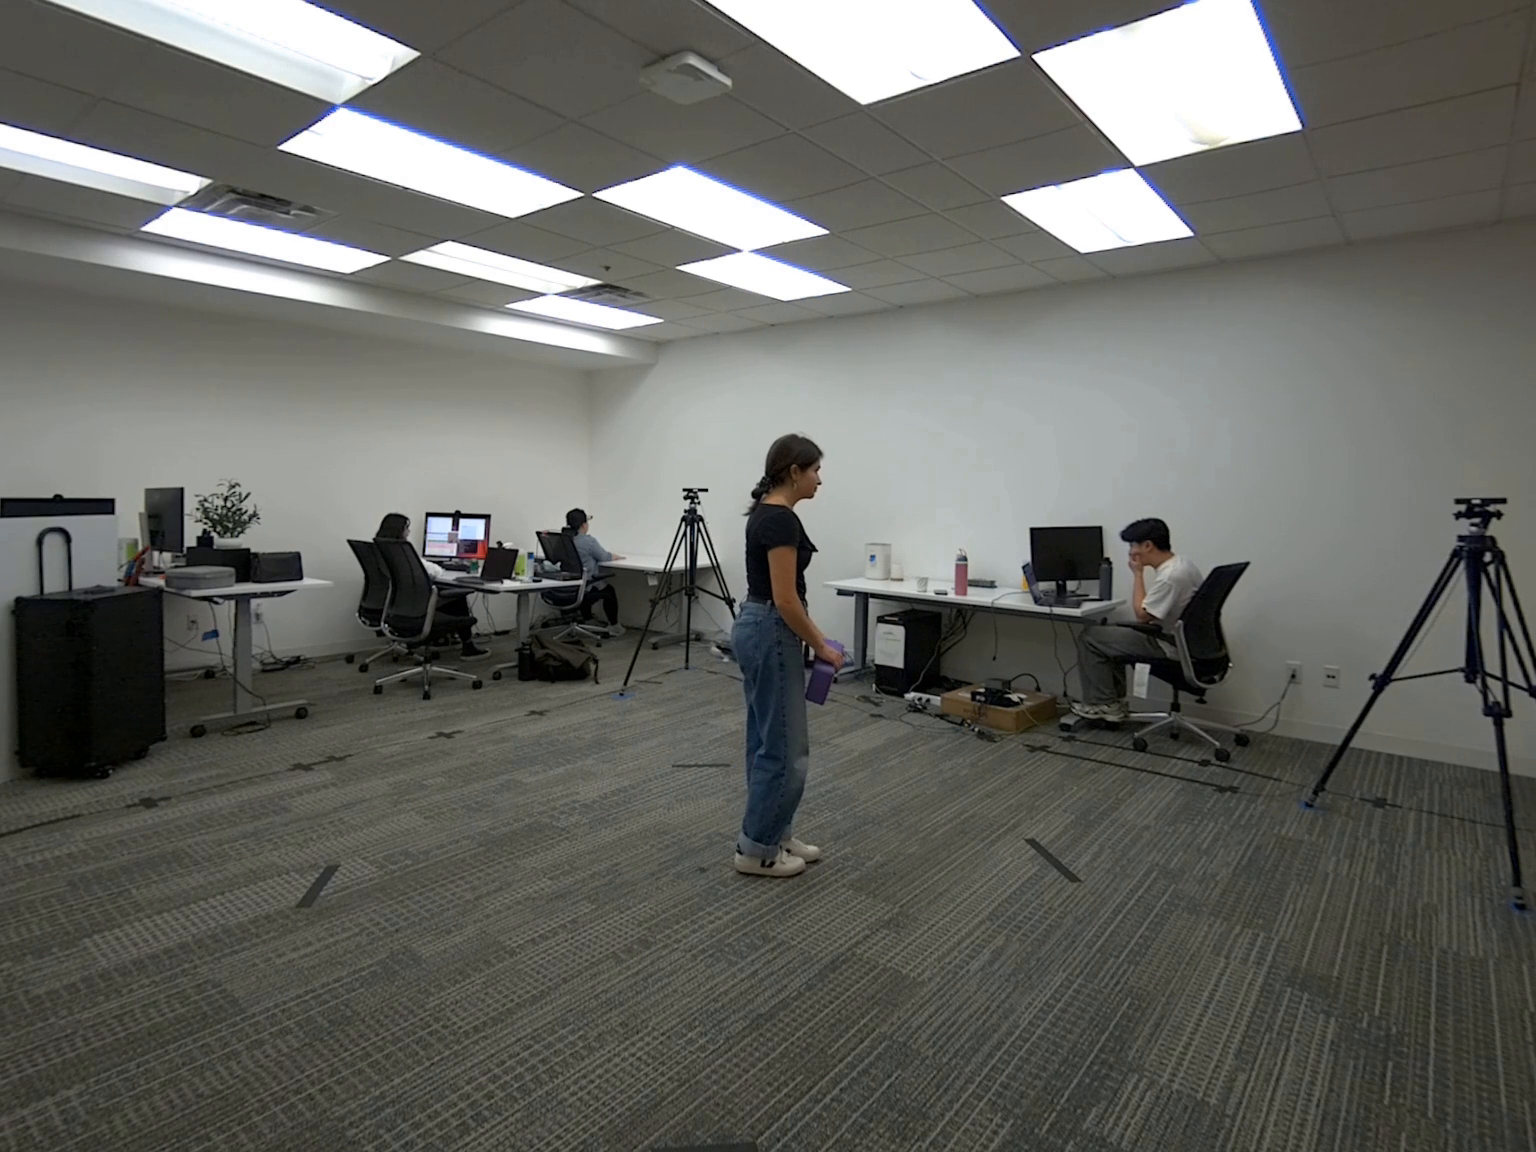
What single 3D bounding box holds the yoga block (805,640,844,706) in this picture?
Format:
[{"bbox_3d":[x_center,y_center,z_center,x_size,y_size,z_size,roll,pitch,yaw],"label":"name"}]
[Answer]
[{"bbox_3d":[0.195,0.350,3.122,0.078,0.146,0.229,17,27,14],"label":"yoga block"}]
